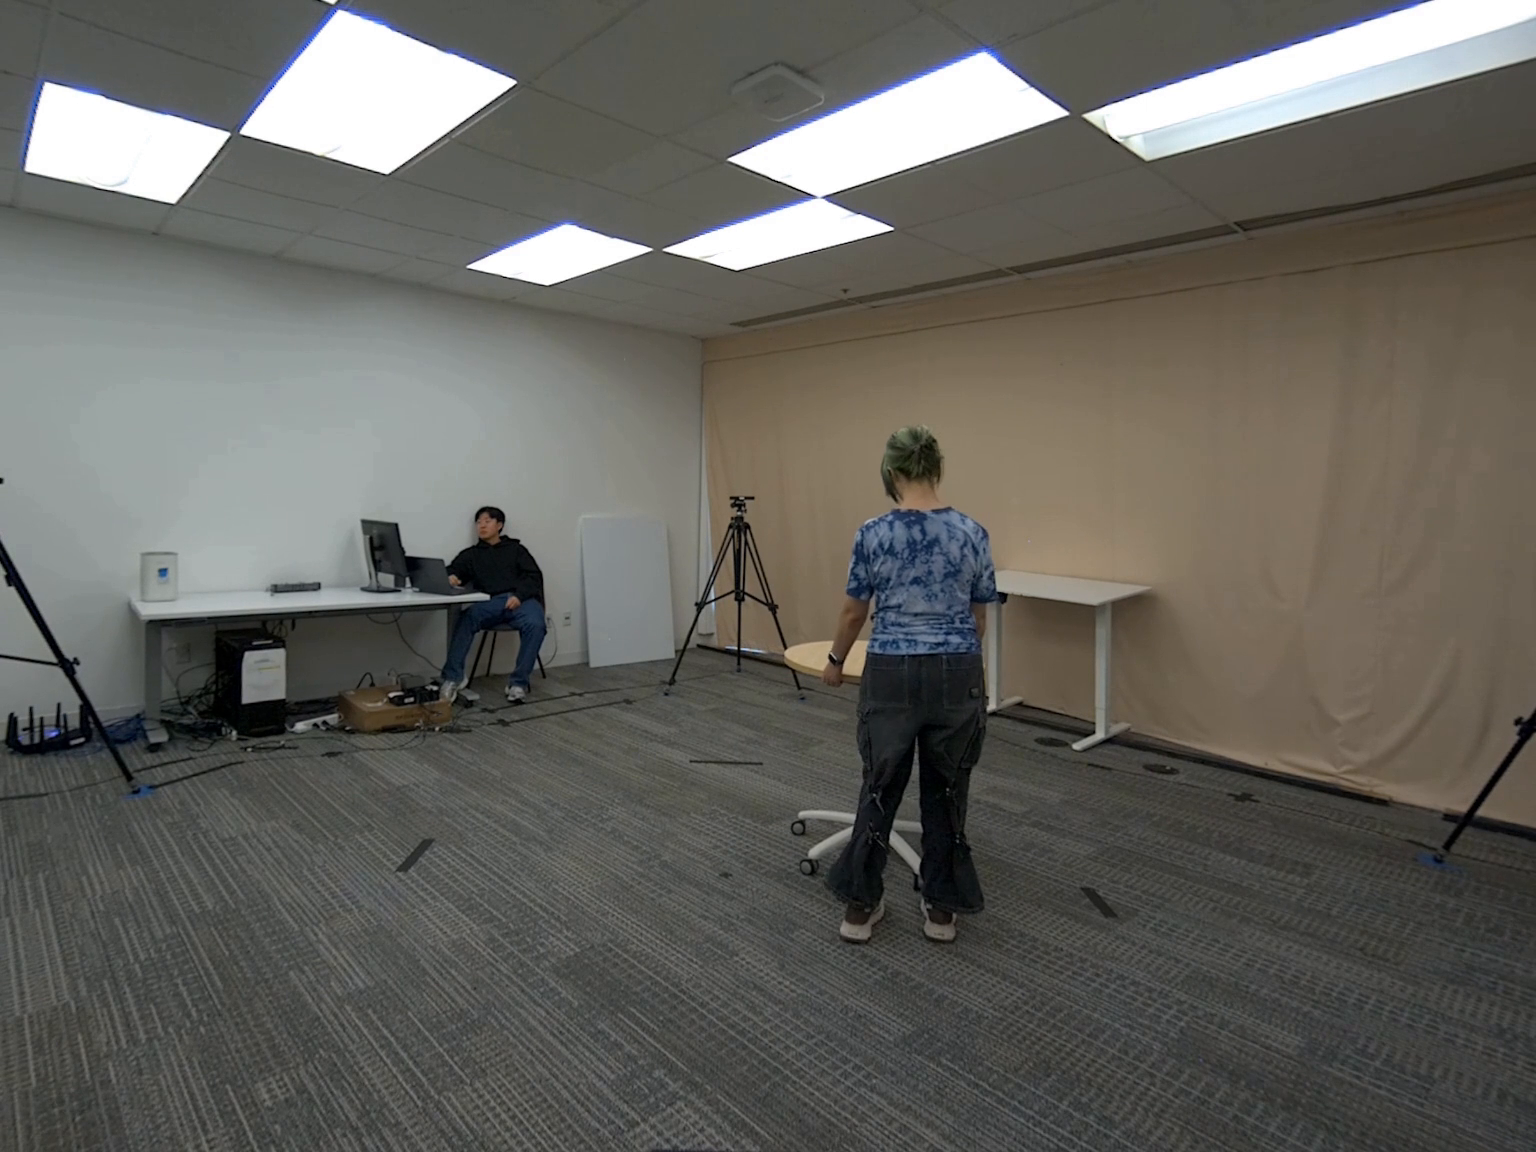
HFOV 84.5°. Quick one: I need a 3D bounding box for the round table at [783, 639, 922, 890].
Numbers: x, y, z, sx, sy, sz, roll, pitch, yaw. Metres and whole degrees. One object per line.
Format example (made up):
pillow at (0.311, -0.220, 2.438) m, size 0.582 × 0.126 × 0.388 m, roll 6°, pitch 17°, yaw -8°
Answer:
round table at (0.415, 0.712, 3.305) m, size 0.763 × 0.792 × 0.766 m, roll 2°, pitch 4°, yaw -1°
